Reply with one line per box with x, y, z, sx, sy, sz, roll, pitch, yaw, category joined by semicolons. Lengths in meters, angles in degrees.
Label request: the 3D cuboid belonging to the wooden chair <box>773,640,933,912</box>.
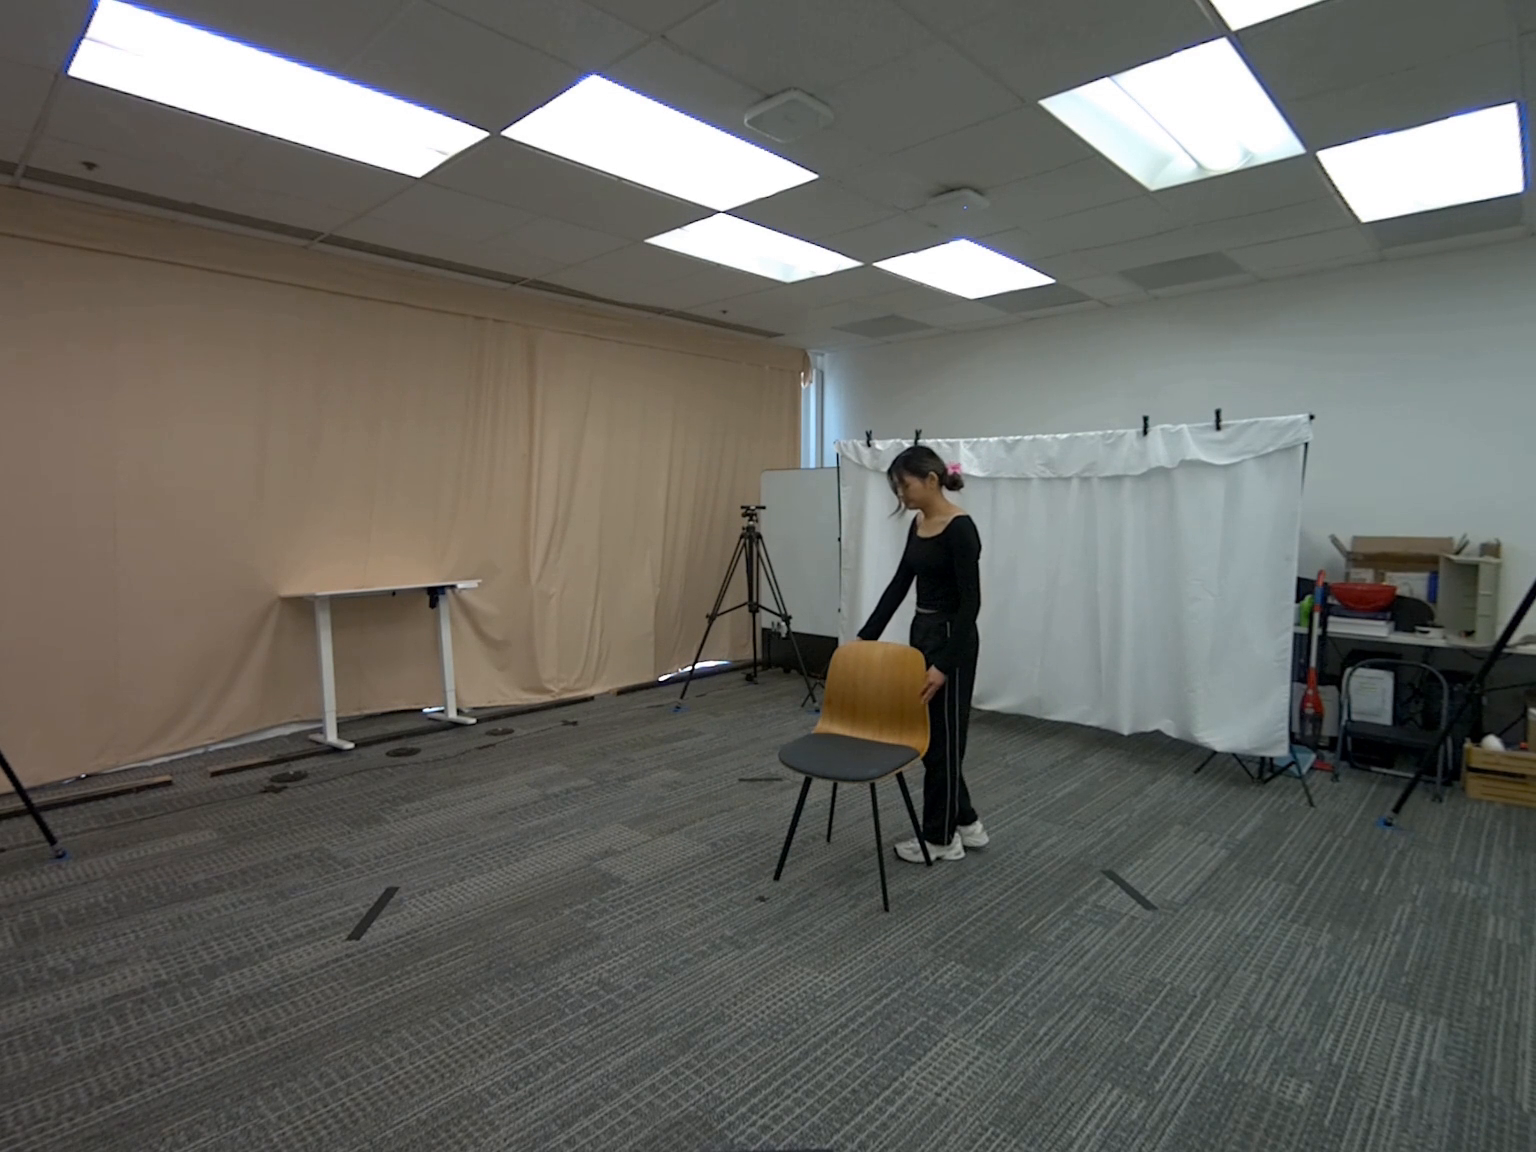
0.325;0.700;3.152;0.493;0.877;0.507;2;0;33;wooden chair
